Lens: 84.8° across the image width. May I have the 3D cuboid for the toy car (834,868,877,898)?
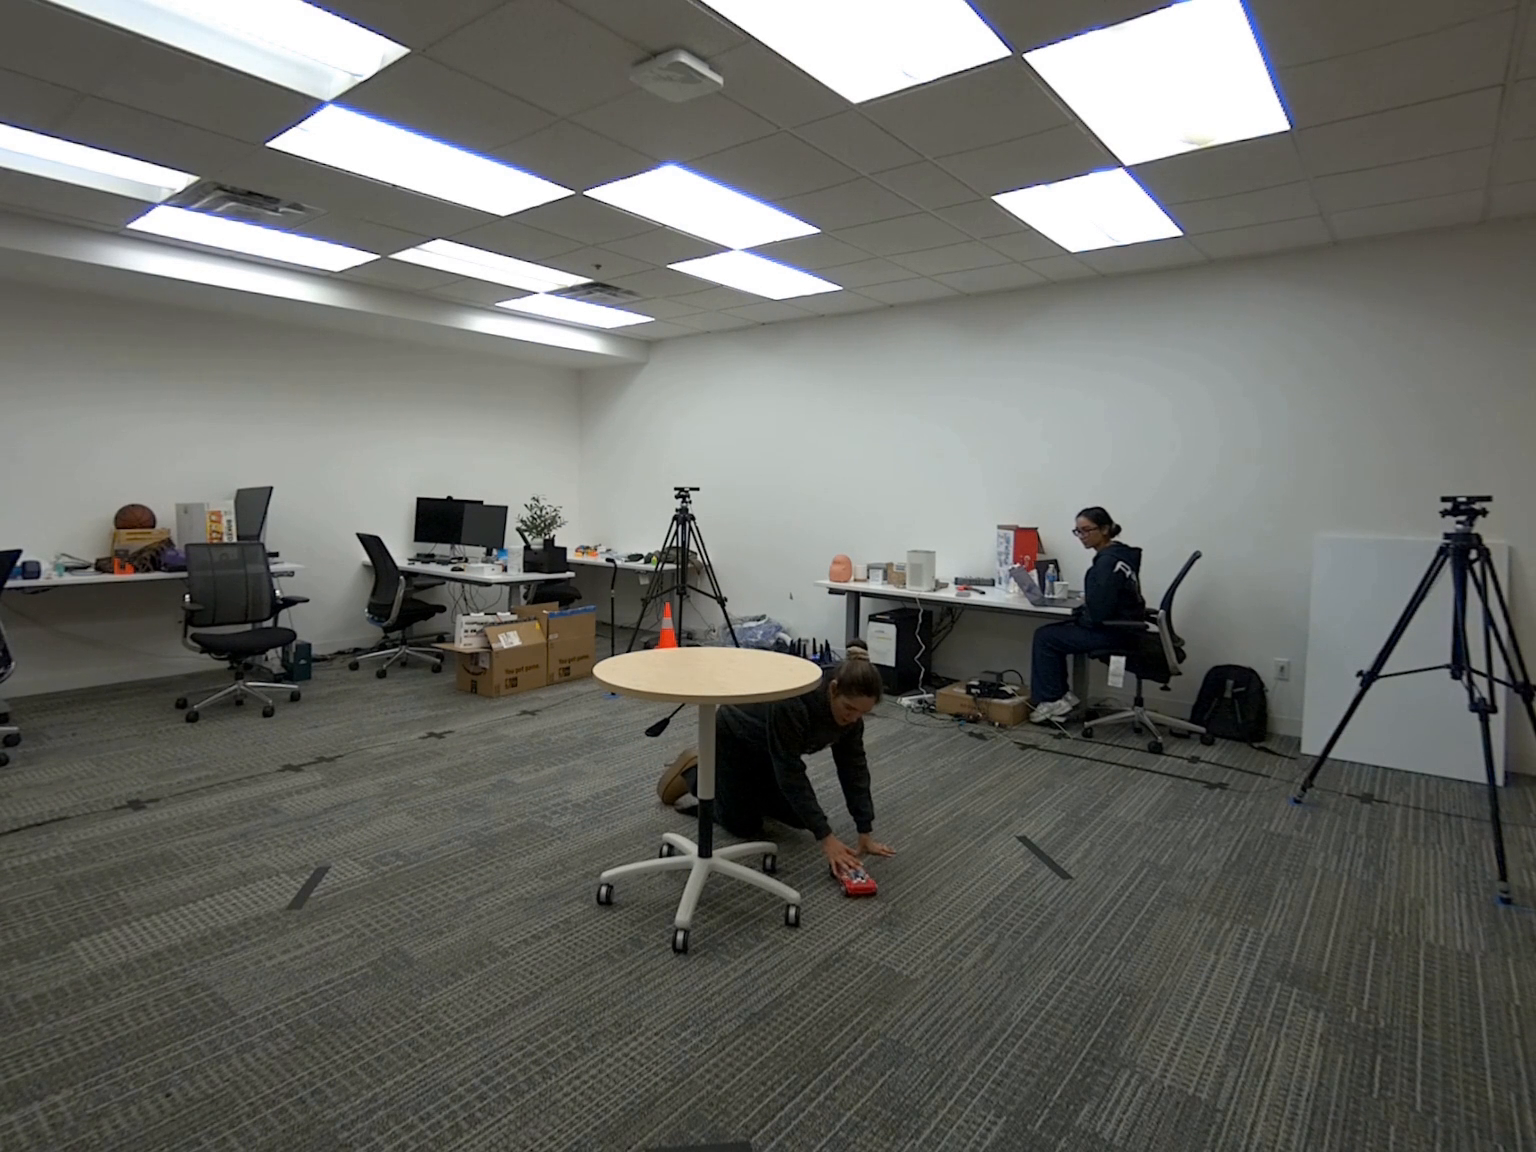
[{"bbox_3d":[0.292,1.049,3.018,0.129,0.082,0.261,2,17,-11],"label":"toy car"}]
